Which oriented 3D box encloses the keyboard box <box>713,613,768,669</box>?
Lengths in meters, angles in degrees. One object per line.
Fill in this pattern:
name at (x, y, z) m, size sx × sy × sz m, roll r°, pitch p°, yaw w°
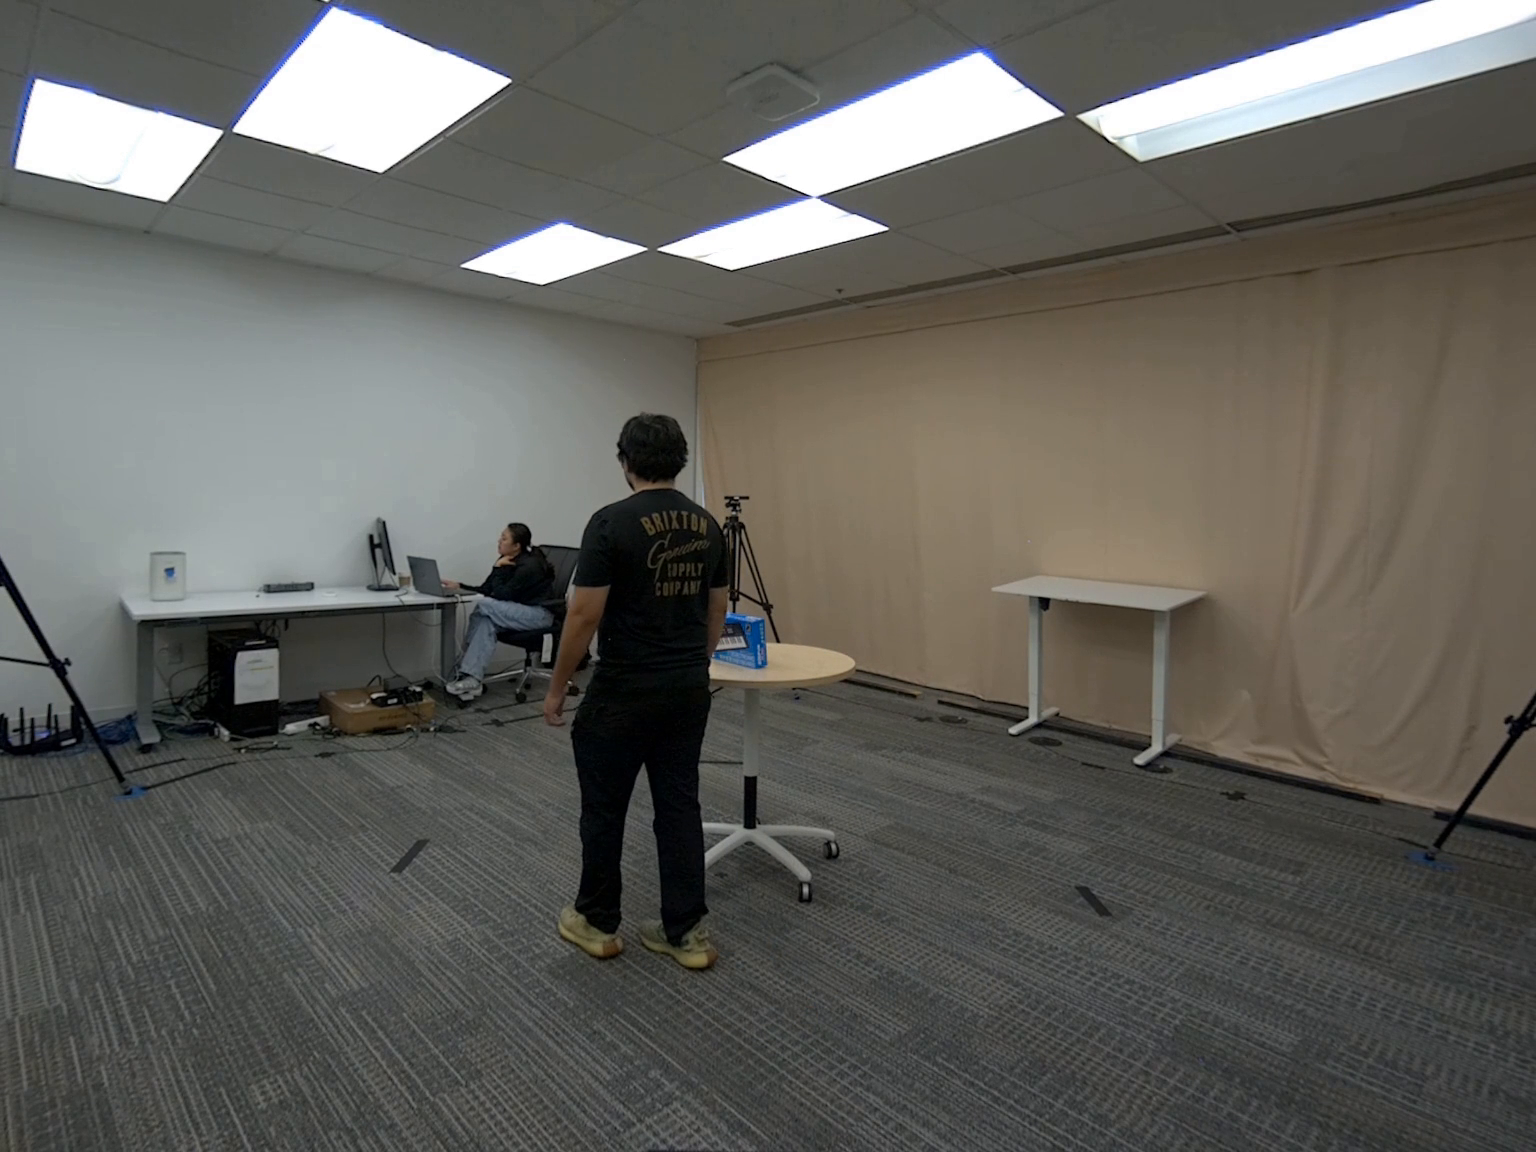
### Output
keyboard box at (-0.181, 0.229, 3.164) m, size 0.058 × 0.175 × 0.448 m, roll -9°, pitch 10°, yaw -40°
